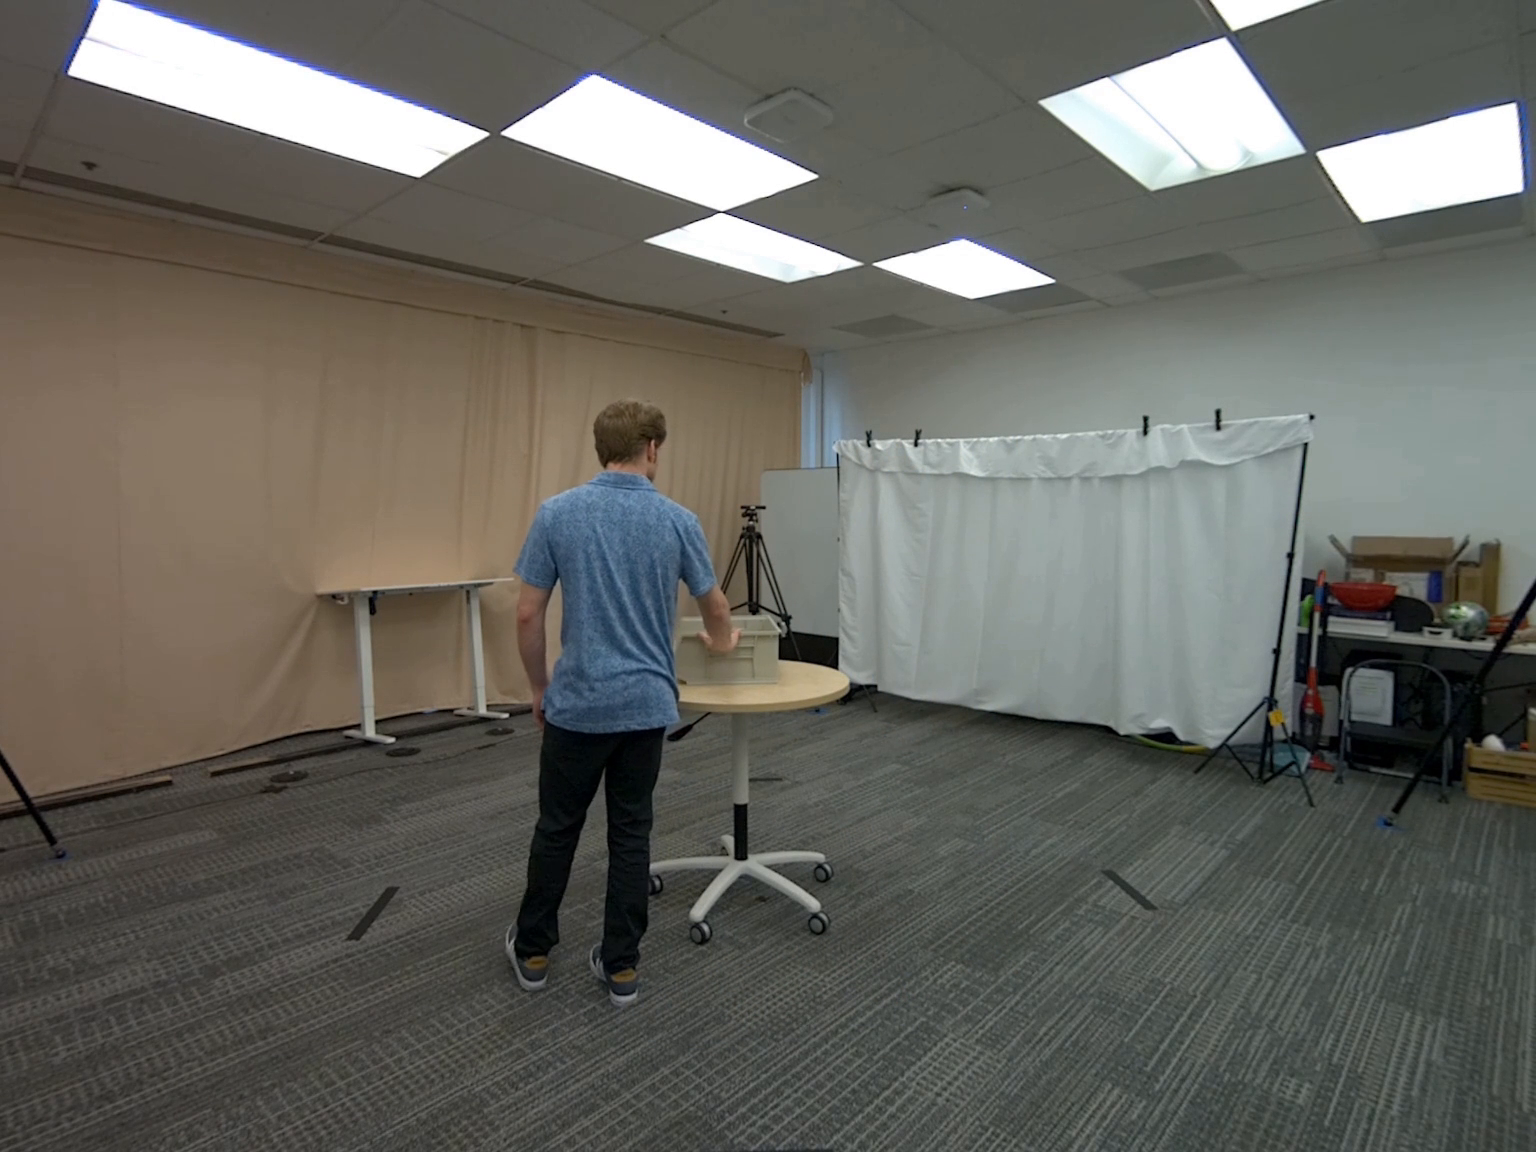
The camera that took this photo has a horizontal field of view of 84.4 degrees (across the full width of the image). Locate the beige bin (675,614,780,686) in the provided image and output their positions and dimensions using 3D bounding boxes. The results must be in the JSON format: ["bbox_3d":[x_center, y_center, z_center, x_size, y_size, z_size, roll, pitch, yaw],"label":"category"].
[{"bbox_3d":[-0.160,0.265,3.067,0.376,0.188,0.425,0,4,-4],"label":"beige bin"}]
